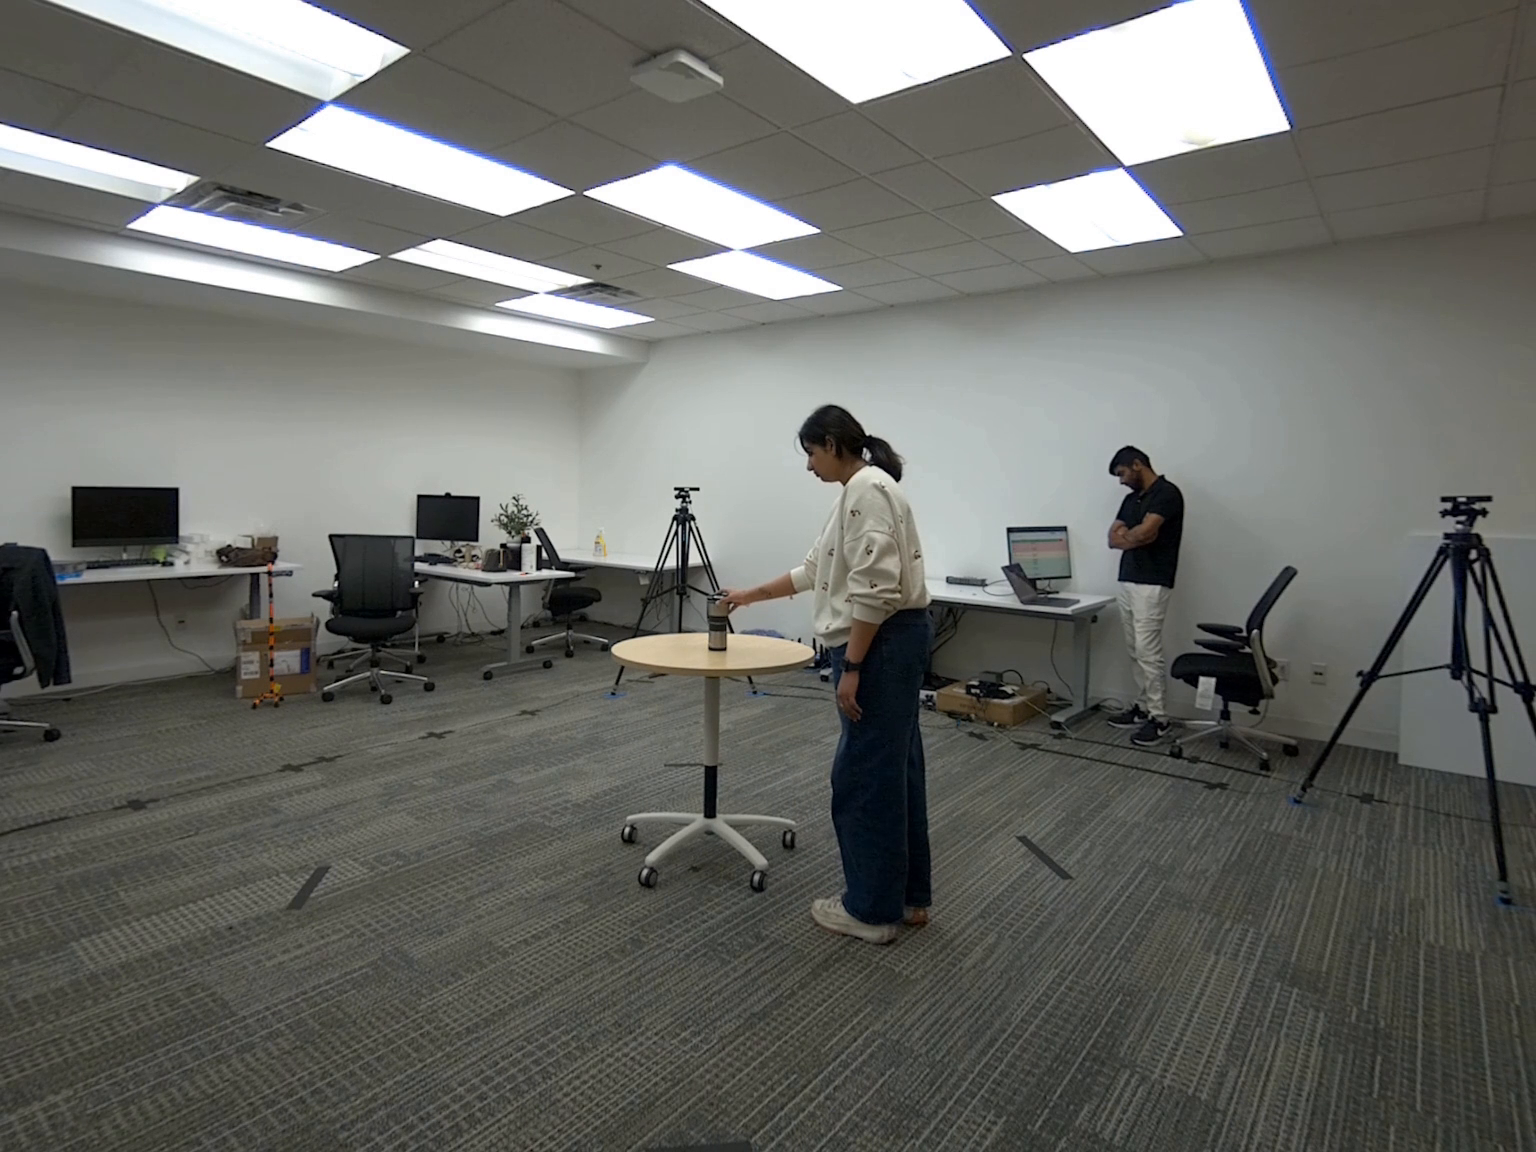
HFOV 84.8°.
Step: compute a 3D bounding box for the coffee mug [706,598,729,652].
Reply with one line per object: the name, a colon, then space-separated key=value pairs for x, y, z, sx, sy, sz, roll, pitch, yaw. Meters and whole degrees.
coffee mug: x=-0.184 y=0.176 z=3.222 sx=0.090 sy=0.202 sz=0.119 roll=0 pitch=4 yaw=33
